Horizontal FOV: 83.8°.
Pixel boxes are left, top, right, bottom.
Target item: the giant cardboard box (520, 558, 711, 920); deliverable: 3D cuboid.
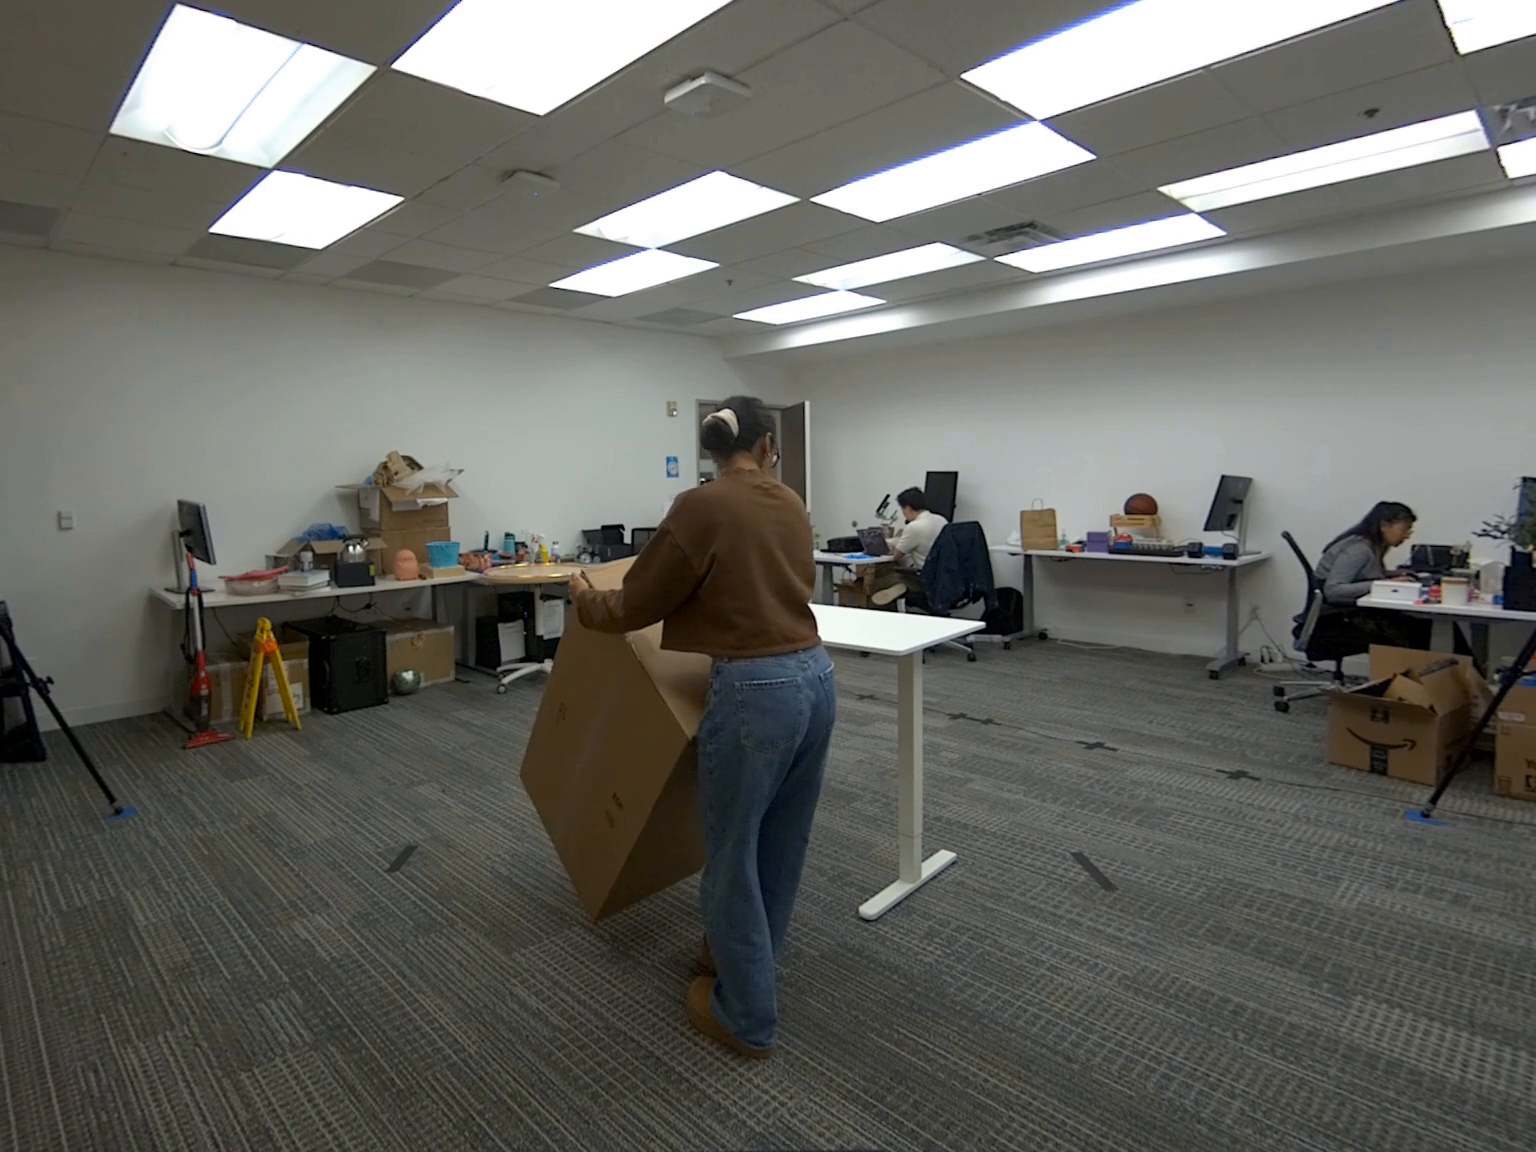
[{"bbox_3d":[-0.369,0.492,2.610,0.417,1.013,0.597,-13,53,-38],"label":"giant cardboard box"}]
